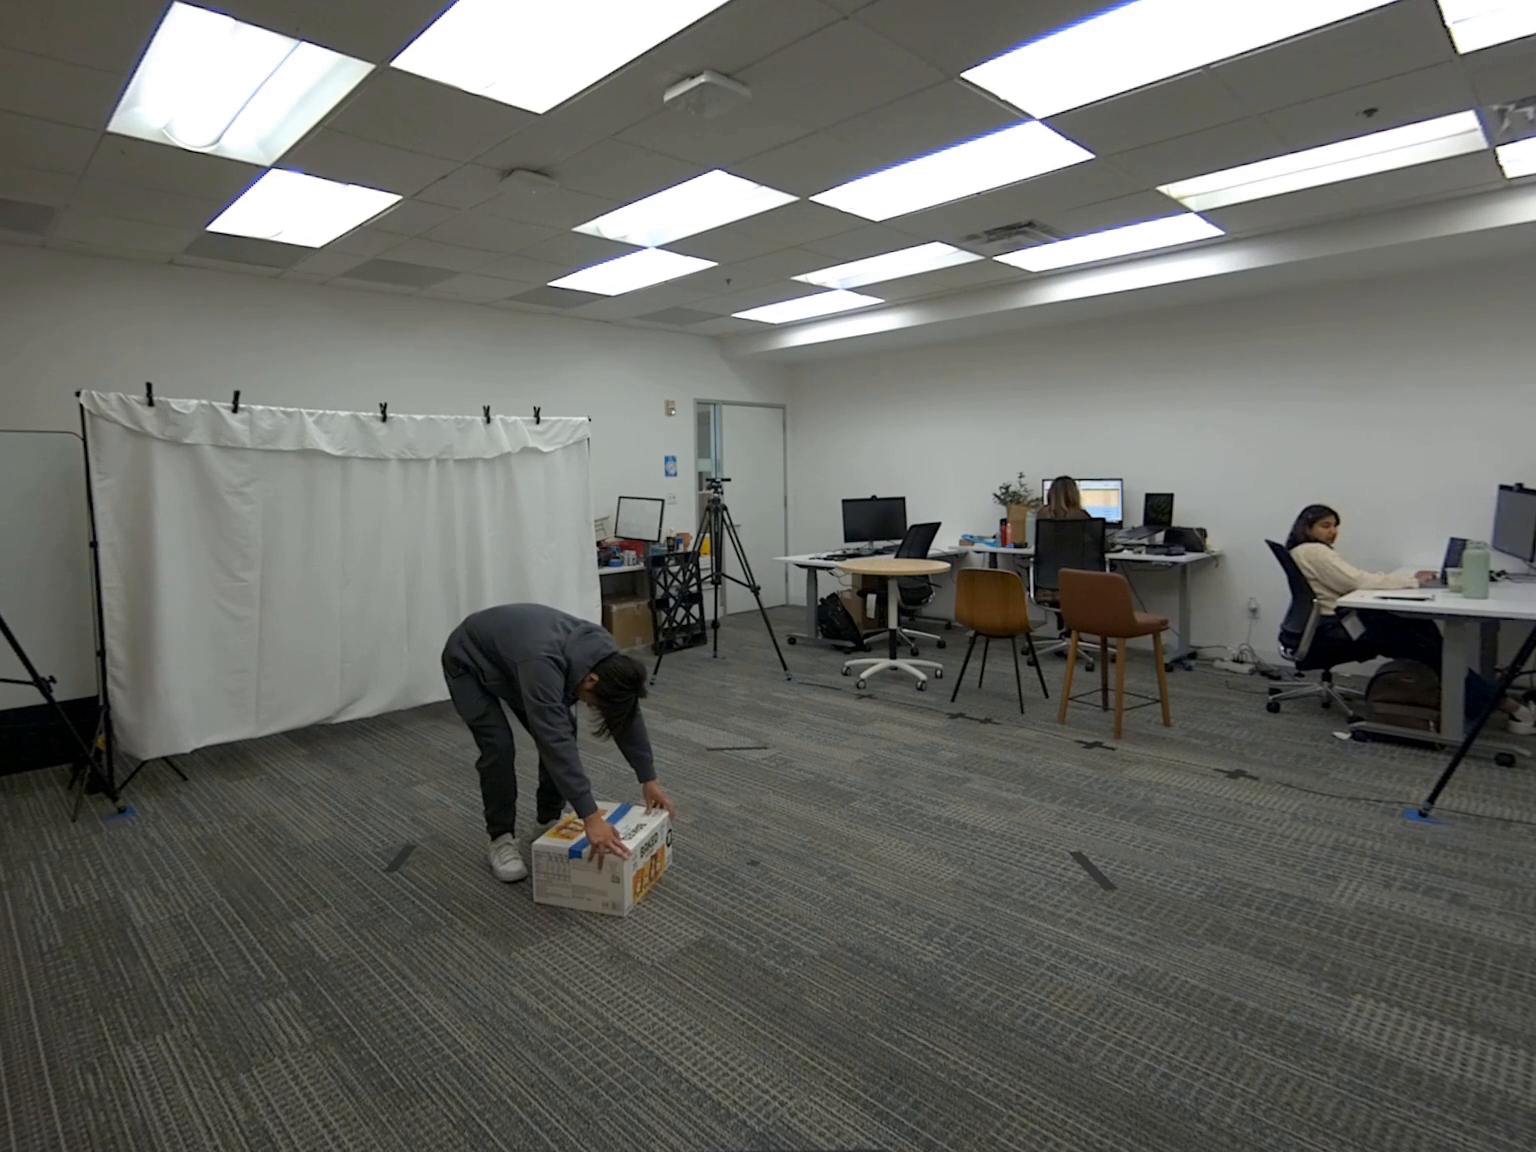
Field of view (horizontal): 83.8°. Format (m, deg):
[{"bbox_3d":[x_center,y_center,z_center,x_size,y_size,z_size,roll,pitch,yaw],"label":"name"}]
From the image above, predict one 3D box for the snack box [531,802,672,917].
[{"bbox_3d":[-0.564,0.968,2.970,0.346,0.205,0.400,1,7,17],"label":"snack box"}]
